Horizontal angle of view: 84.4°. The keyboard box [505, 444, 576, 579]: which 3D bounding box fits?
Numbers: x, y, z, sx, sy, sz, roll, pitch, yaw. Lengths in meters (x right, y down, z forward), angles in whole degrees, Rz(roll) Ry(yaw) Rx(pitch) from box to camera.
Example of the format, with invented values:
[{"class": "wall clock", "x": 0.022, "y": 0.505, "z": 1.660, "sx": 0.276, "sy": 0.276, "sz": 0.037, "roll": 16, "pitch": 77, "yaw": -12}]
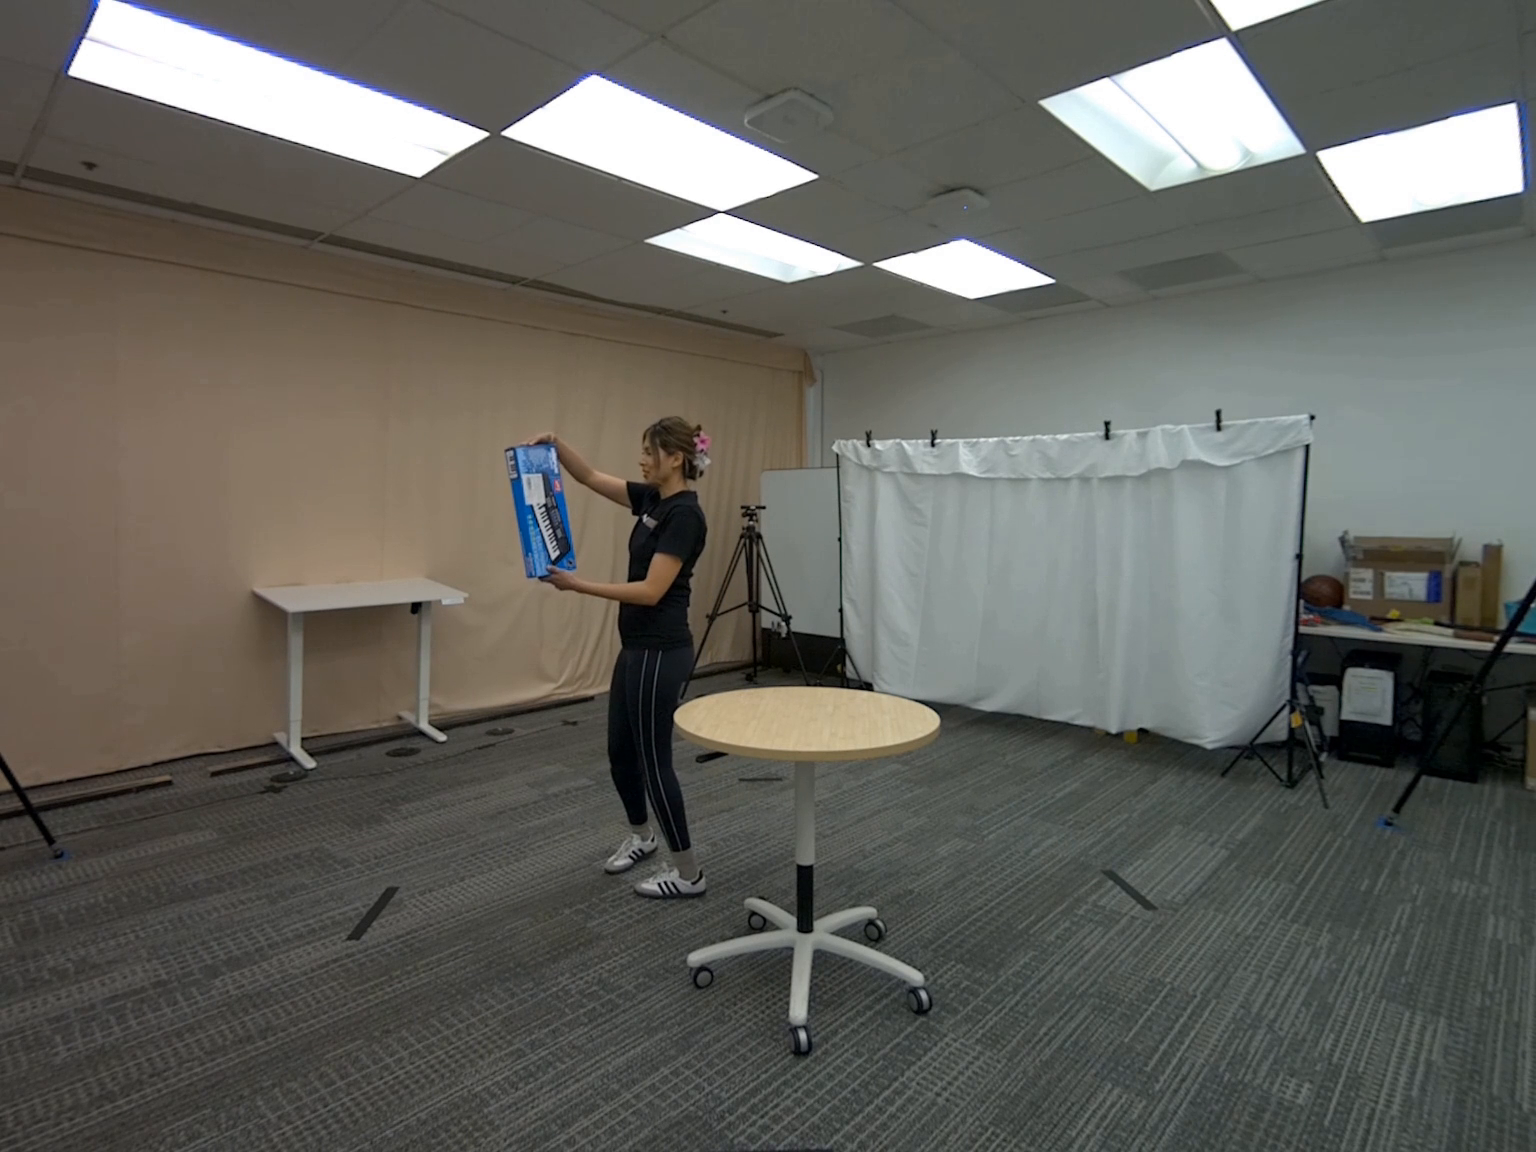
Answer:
[{"class": "keyboard box", "x": -0.770, "y": -0.221, "z": 2.857, "sx": 0.061, "sy": 0.436, "sz": 0.171, "roll": -8, "pitch": 2, "yaw": 41}]
